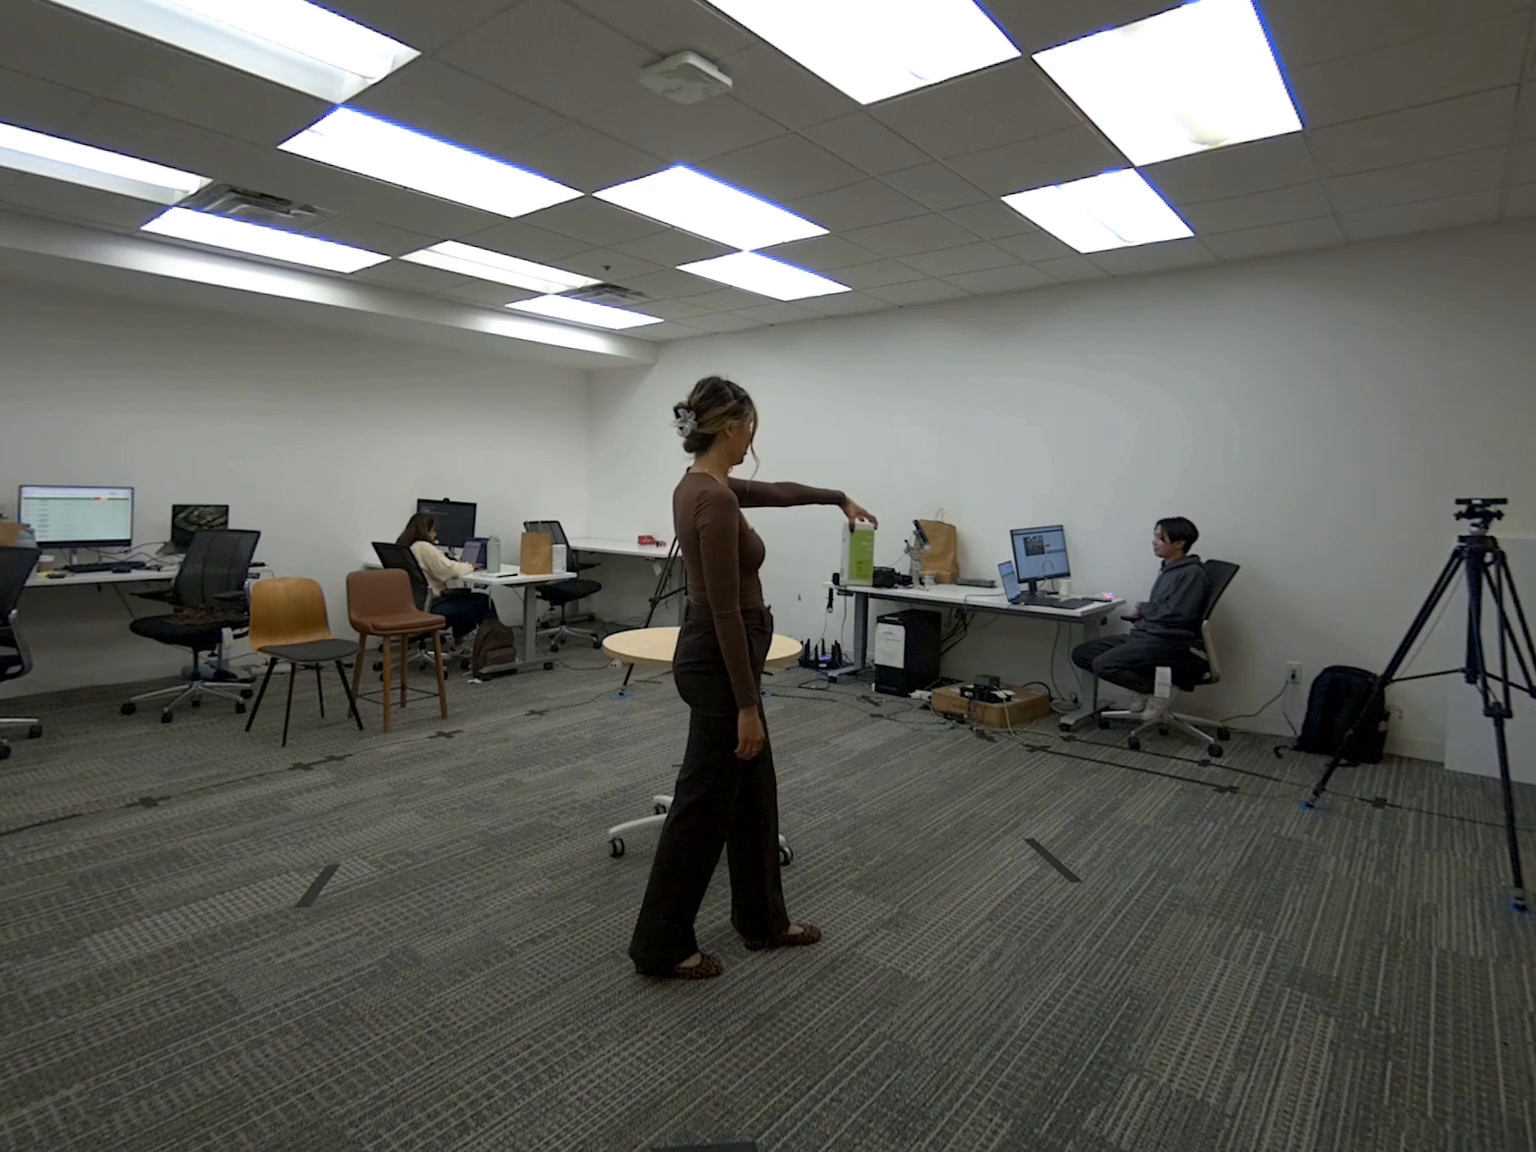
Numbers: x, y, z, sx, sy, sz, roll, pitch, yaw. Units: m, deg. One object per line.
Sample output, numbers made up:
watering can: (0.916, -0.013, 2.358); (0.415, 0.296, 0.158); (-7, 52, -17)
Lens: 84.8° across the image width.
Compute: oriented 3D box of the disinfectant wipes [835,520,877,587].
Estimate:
disinfectant wipes: (0.296, -0.077, 2.861); (0.118, 0.218, 0.117); (1, -2, -2)
